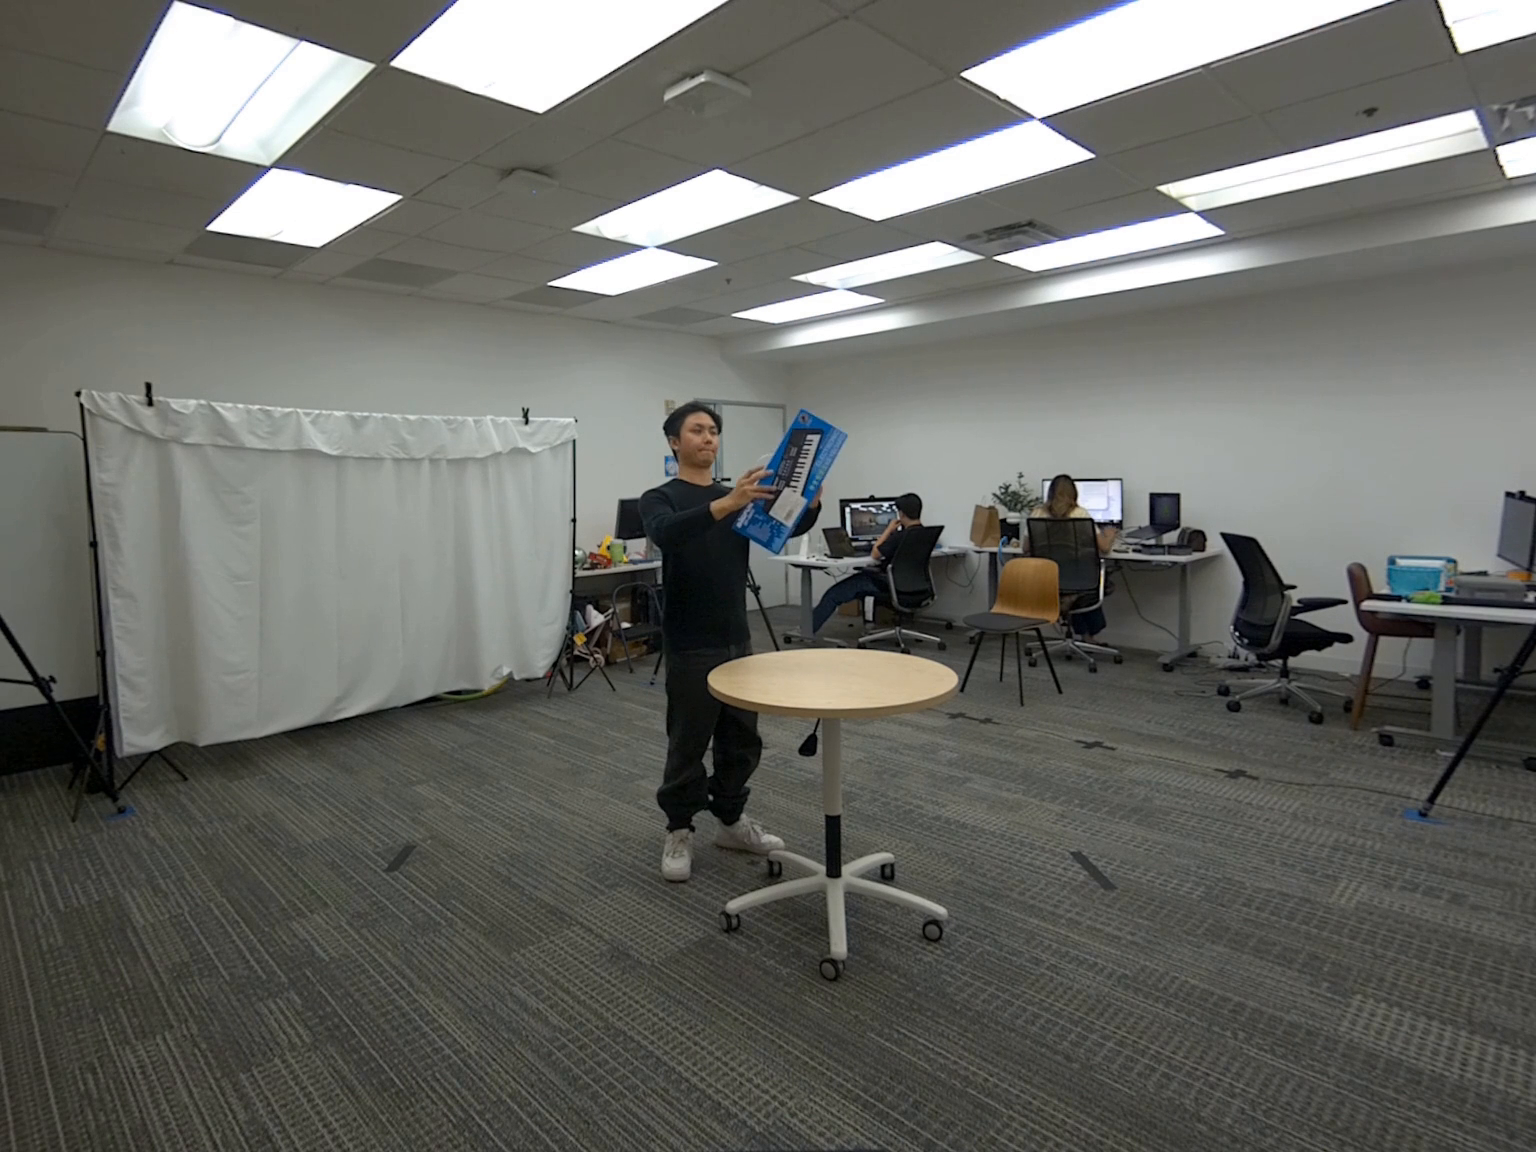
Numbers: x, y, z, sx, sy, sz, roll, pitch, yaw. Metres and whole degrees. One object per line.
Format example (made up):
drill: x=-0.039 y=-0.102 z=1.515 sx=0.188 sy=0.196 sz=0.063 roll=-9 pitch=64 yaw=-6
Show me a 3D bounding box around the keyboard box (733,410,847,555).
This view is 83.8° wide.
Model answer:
keyboard box: x=0.074 y=-0.299 z=2.704 sx=0.176 sy=0.437 sz=0.059 roll=30 pitch=0 yaw=3
